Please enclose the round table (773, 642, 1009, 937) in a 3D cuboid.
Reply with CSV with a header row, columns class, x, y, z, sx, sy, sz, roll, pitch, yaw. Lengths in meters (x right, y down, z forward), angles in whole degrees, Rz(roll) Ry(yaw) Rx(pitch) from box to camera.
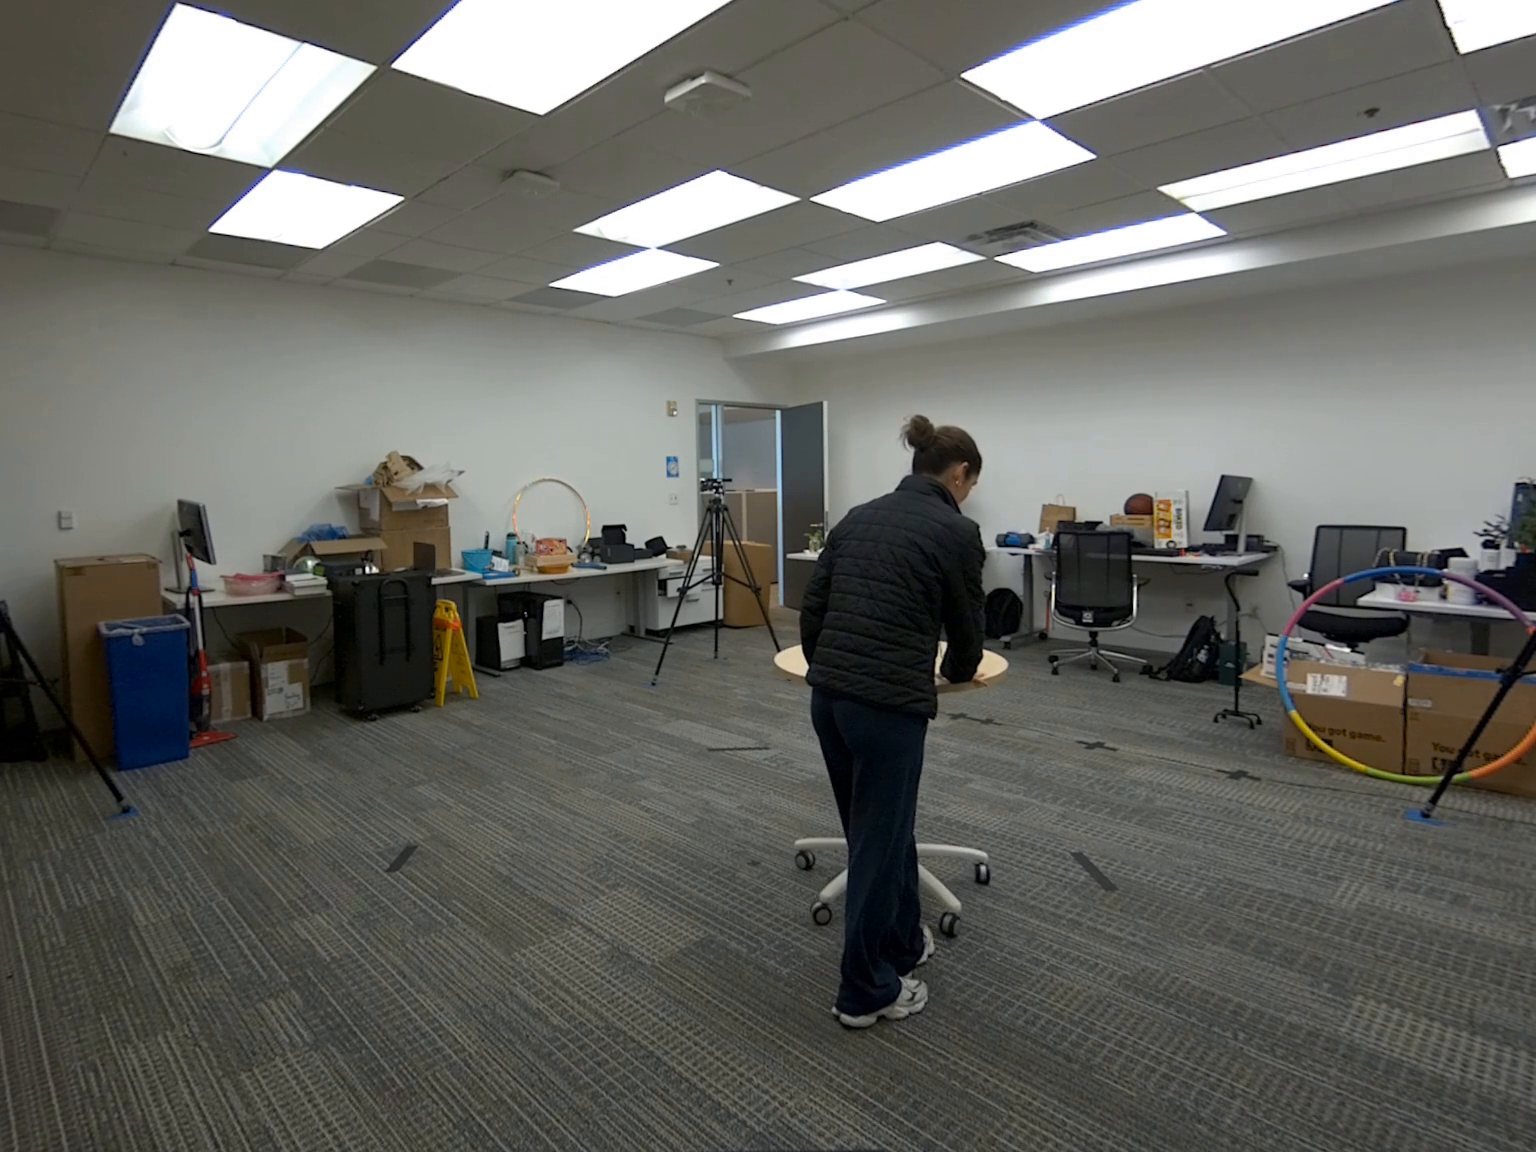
class,x,y,z,sx,sy,sz,roll,pitch,yaw
round table,0.412,0.669,2.899,0.784,0.783,0.789,-1,5,-2
